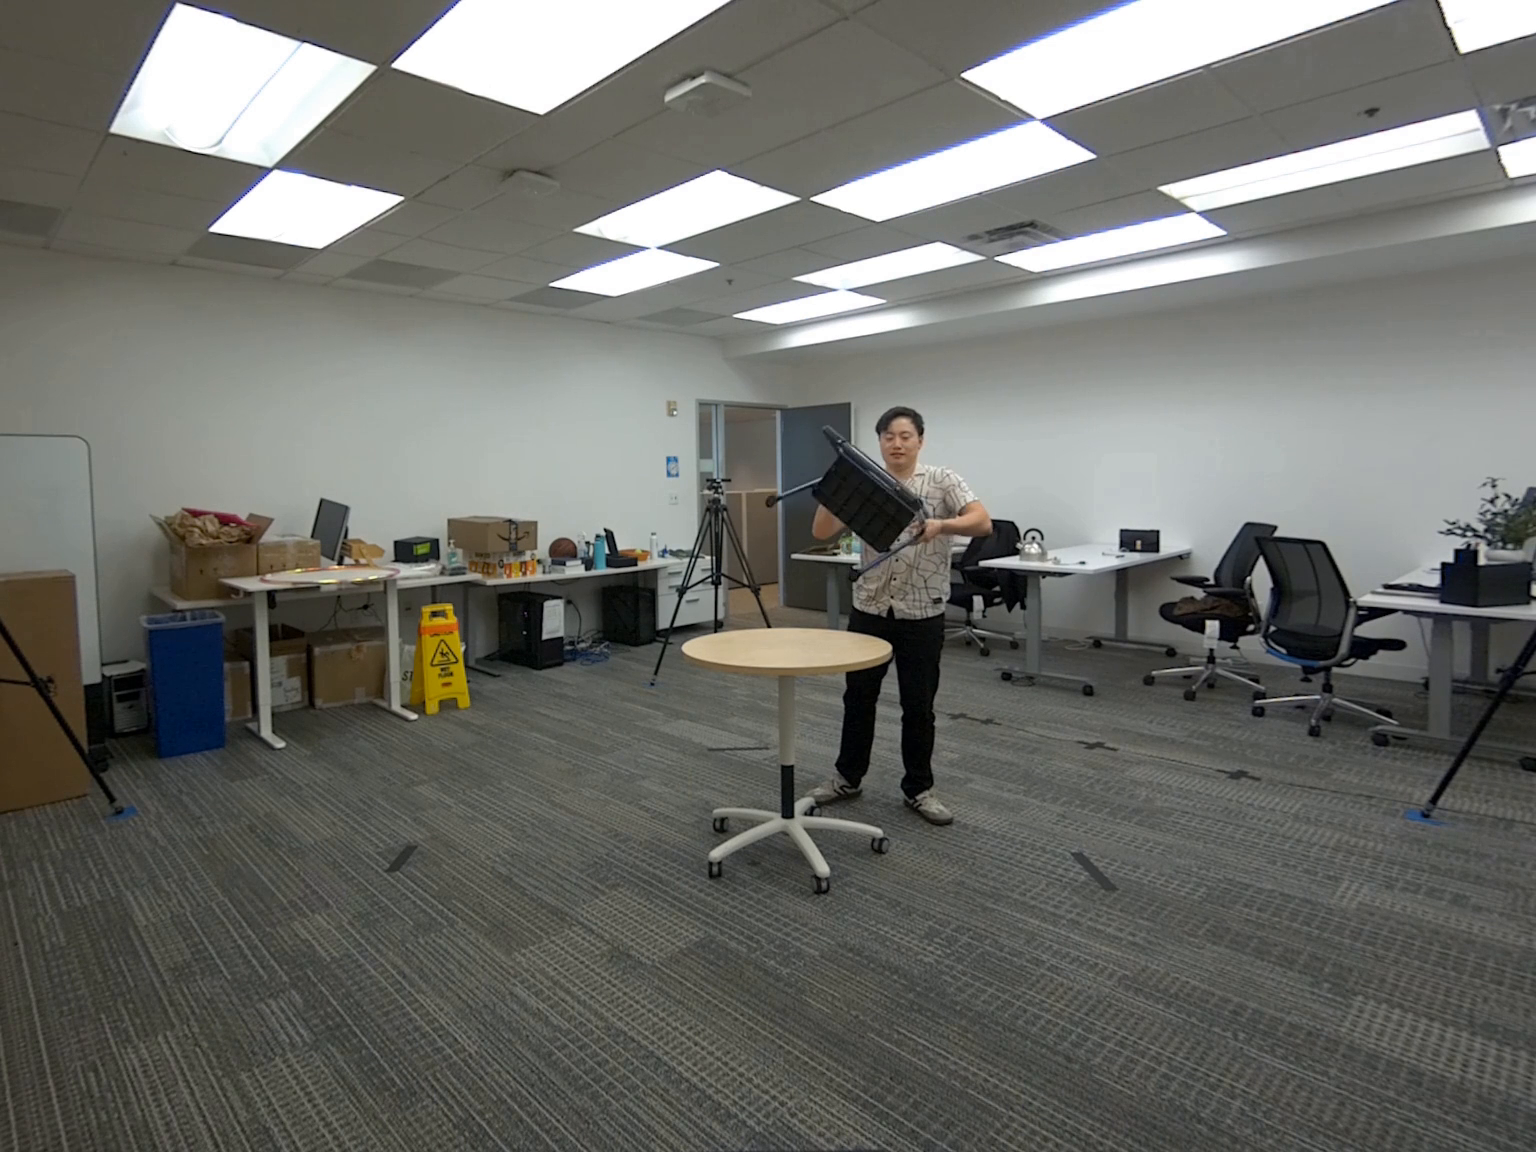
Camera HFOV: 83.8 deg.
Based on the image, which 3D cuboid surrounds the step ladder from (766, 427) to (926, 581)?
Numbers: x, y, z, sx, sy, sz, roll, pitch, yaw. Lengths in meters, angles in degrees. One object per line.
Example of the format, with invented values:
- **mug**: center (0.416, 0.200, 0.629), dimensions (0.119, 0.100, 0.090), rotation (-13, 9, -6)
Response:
- **step ladder**: center (0.362, -0.261, 3.131), dimensions (0.441, 0.348, 0.593), rotation (43, 19, 18)
